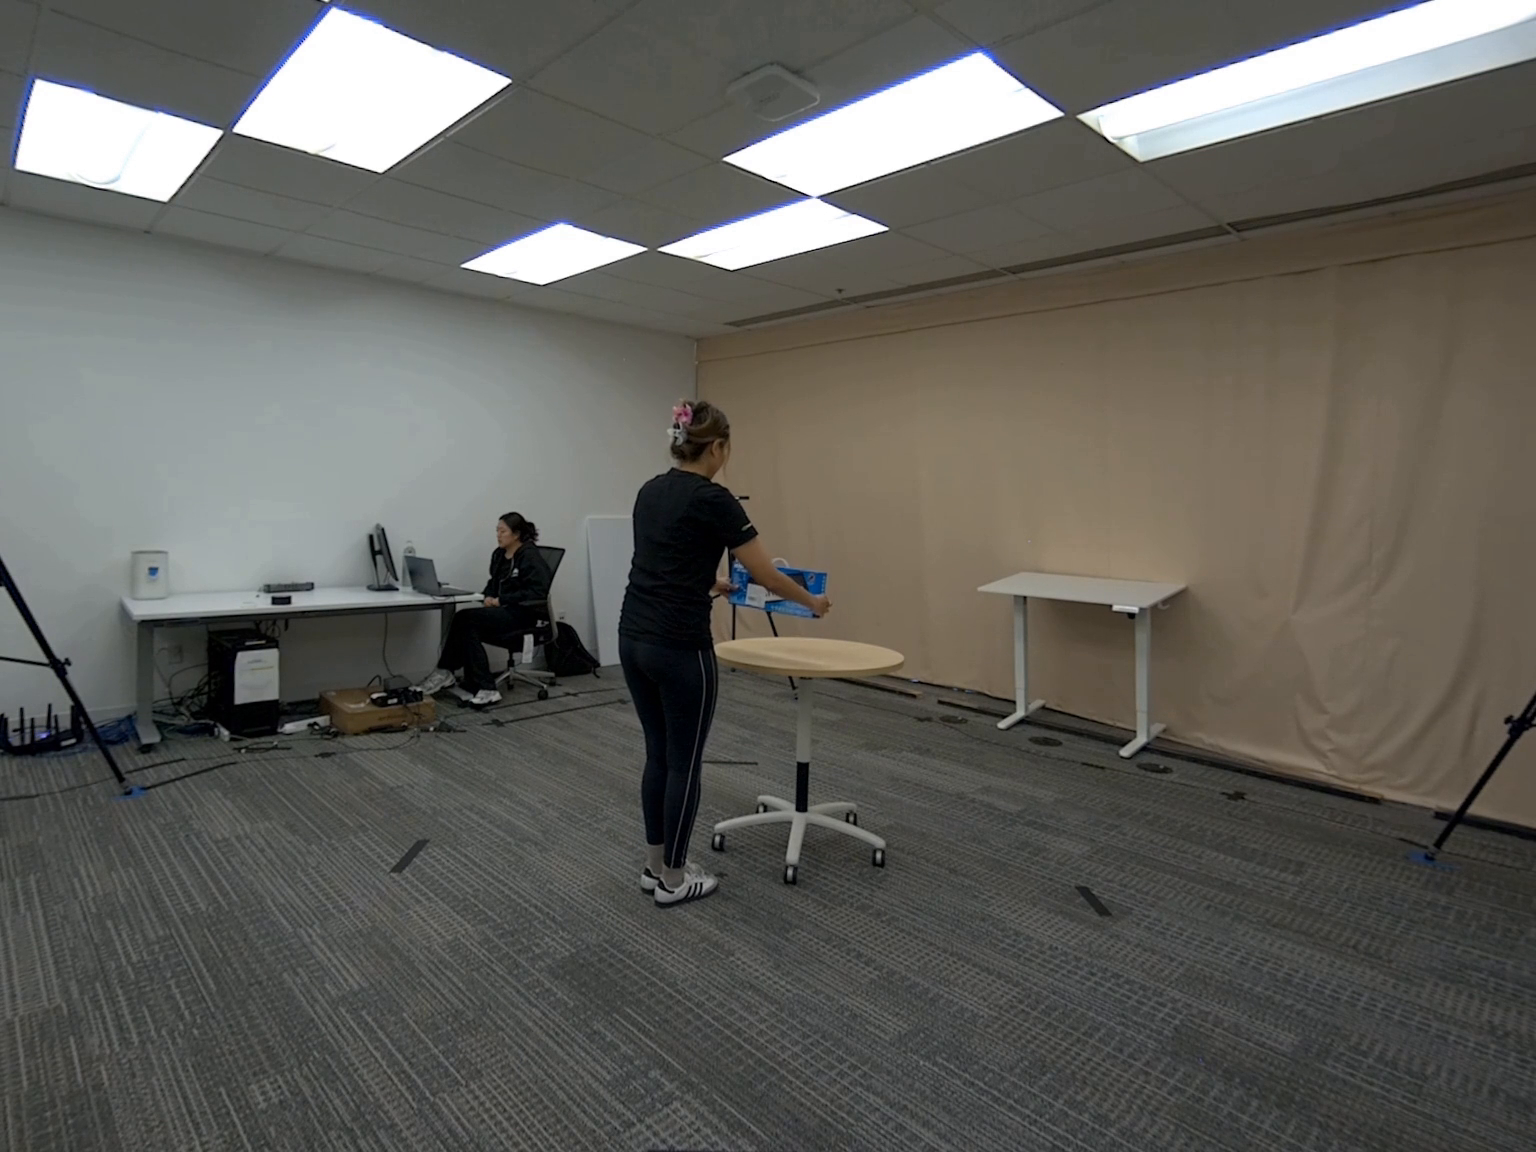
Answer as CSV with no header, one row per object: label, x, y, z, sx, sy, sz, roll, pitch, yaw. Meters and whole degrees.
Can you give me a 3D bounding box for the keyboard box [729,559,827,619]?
keyboard box,0.026,0.052,3.231,0.448,0.176,0.057,8,1,43
